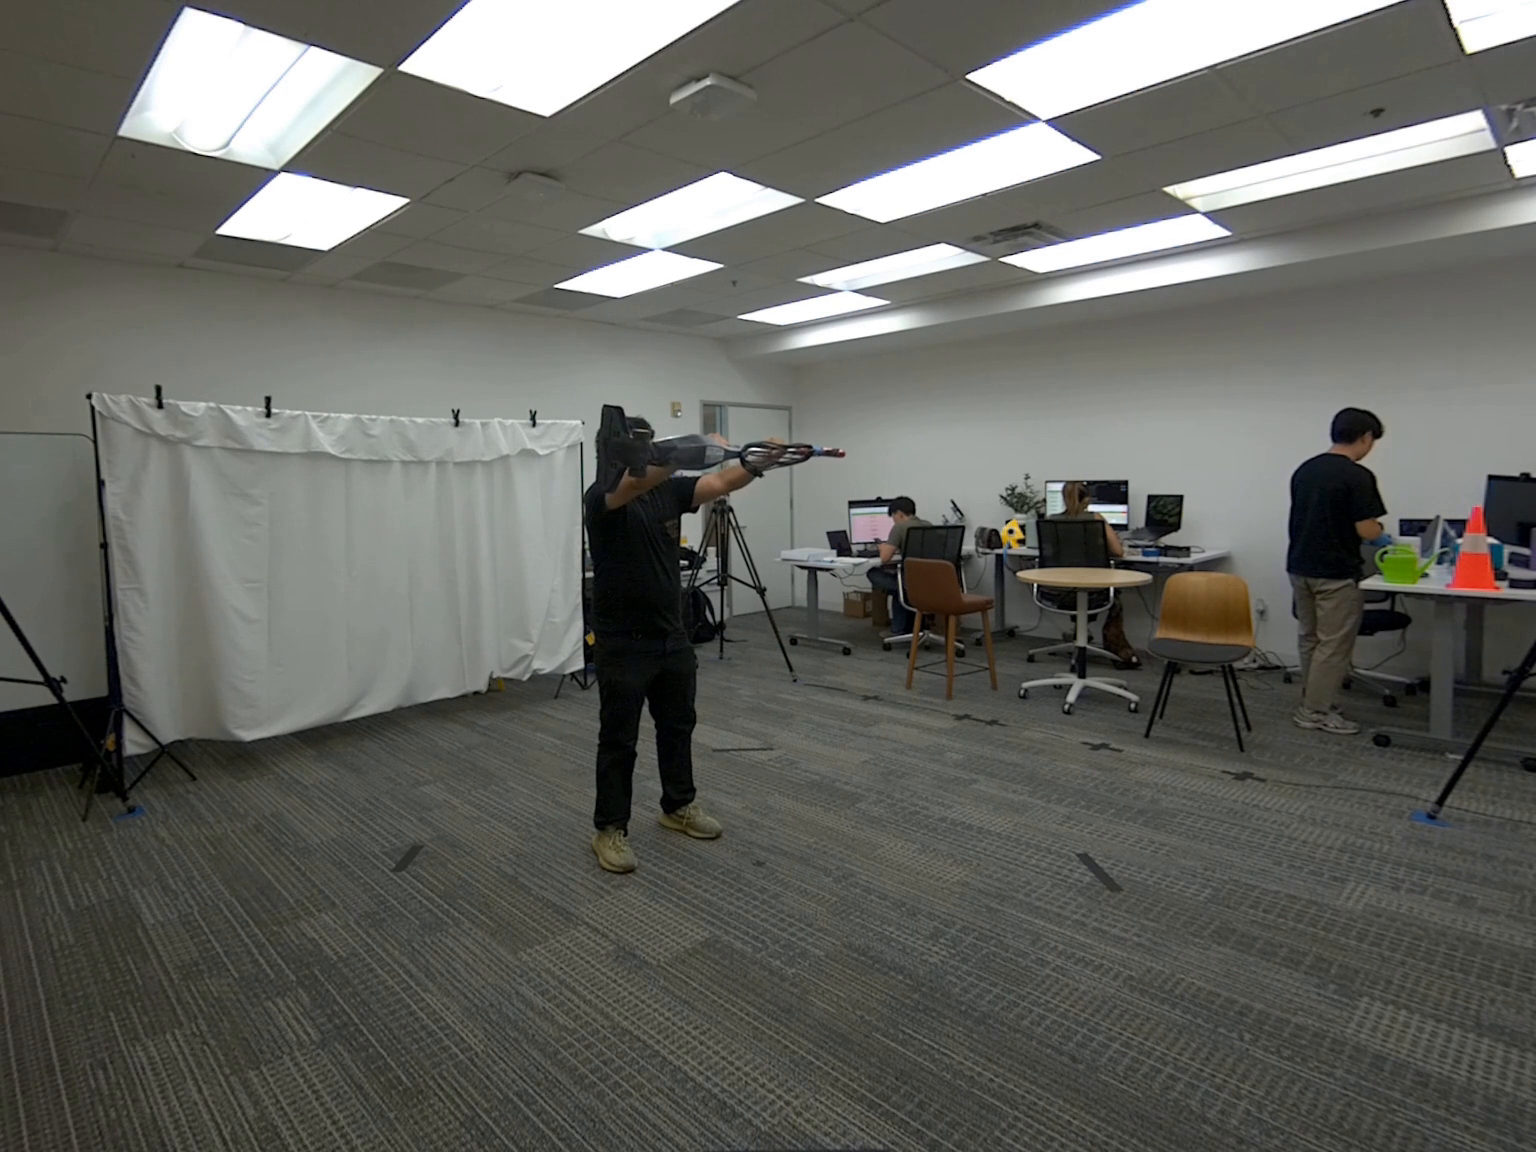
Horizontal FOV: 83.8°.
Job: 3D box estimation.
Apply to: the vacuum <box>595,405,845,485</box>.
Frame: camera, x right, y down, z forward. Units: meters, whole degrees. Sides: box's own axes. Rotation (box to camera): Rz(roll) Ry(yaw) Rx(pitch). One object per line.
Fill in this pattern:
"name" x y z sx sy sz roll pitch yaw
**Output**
"vacuum" -0.074 -0.402 2.786 0.149 0.250 1.022 19 18 38
